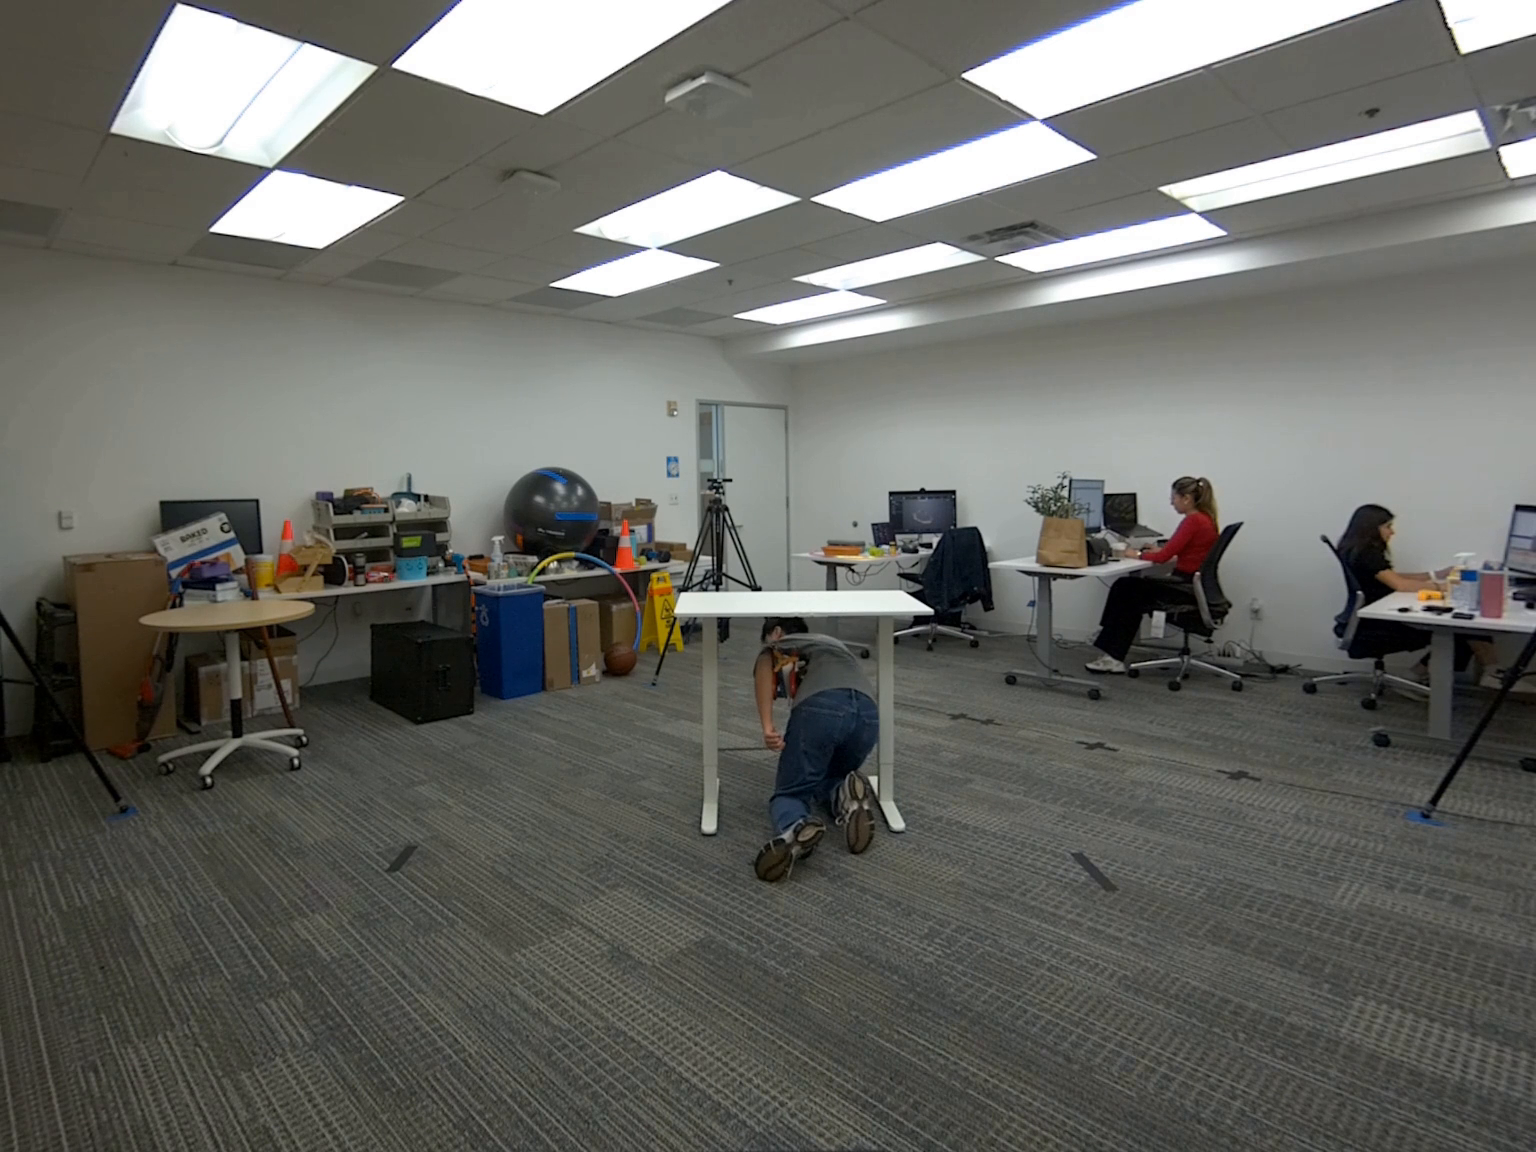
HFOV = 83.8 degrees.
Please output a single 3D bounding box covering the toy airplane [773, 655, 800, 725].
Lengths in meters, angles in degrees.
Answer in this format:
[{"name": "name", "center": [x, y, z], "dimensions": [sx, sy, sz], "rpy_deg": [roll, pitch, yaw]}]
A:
[{"name": "toy airplane", "center": [0.106, 0.451, 3.605], "dimensions": [0.154, 0.257, 0.257], "rpy_deg": [9, 12, -17]}]
